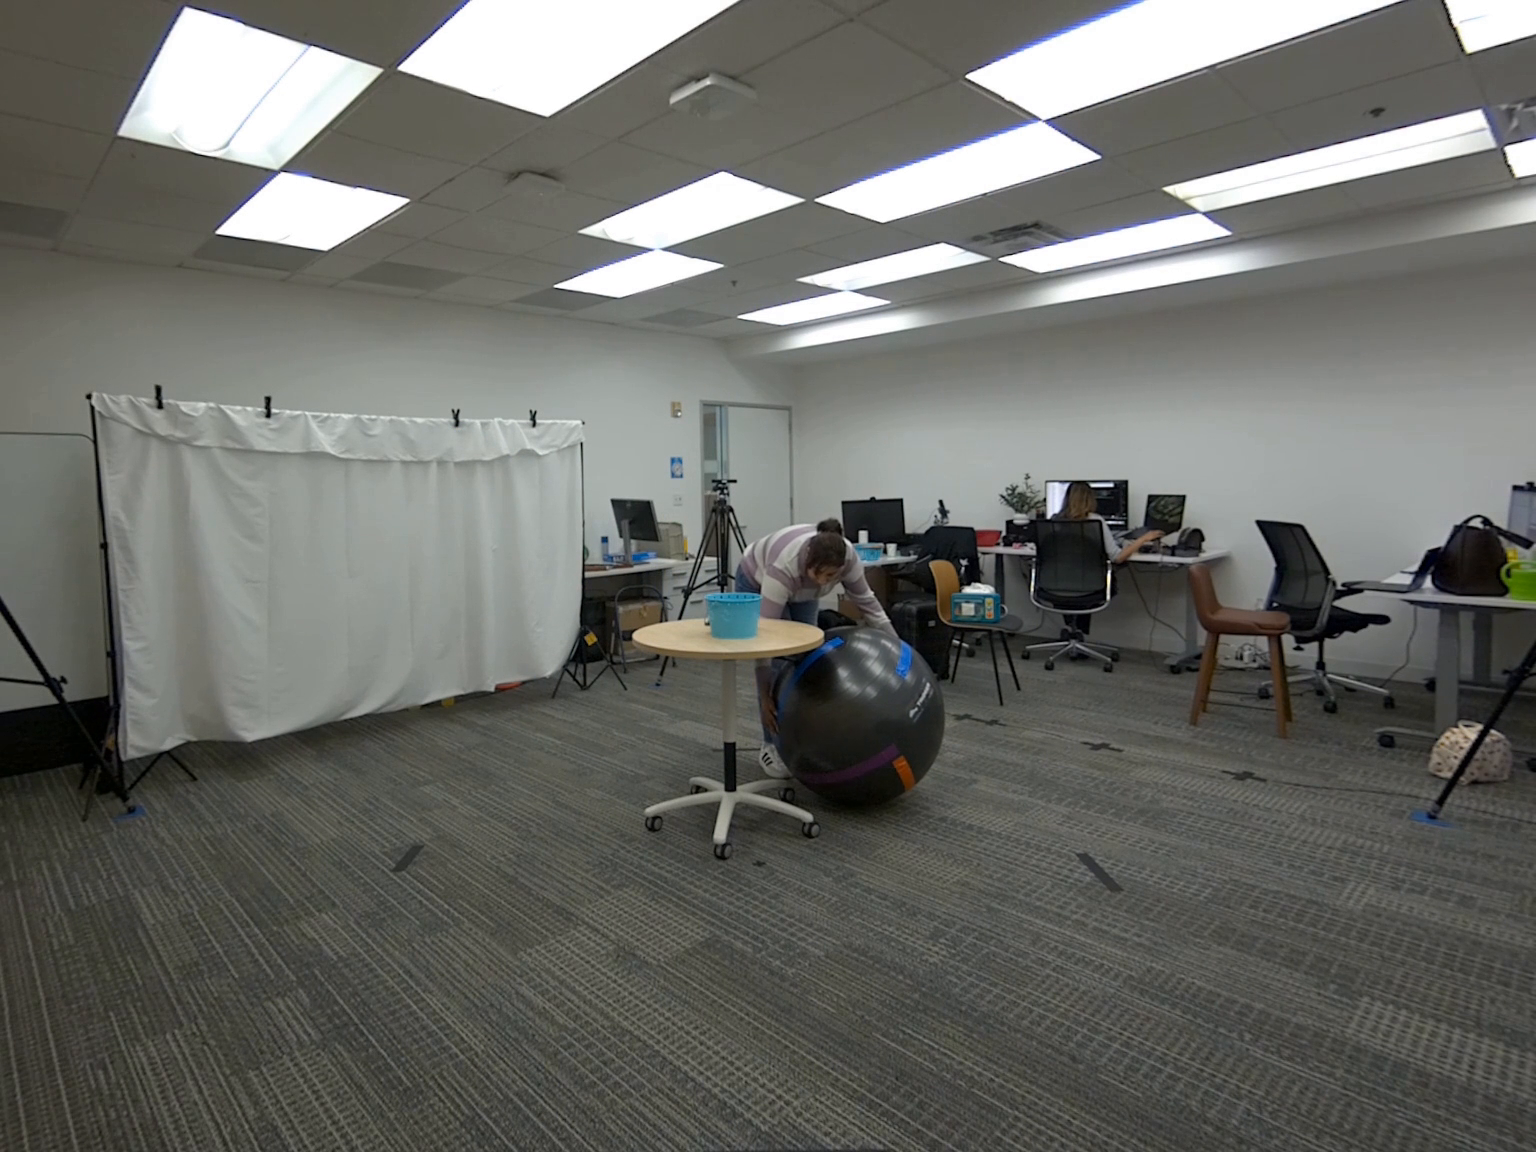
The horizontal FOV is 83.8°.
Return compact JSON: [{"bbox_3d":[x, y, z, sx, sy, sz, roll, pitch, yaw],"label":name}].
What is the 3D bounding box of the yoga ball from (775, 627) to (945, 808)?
[{"bbox_3d":[0.398,0.602,3.700,0.757,0.755,0.762,-1,5,-2],"label":"yoga ball"}]
